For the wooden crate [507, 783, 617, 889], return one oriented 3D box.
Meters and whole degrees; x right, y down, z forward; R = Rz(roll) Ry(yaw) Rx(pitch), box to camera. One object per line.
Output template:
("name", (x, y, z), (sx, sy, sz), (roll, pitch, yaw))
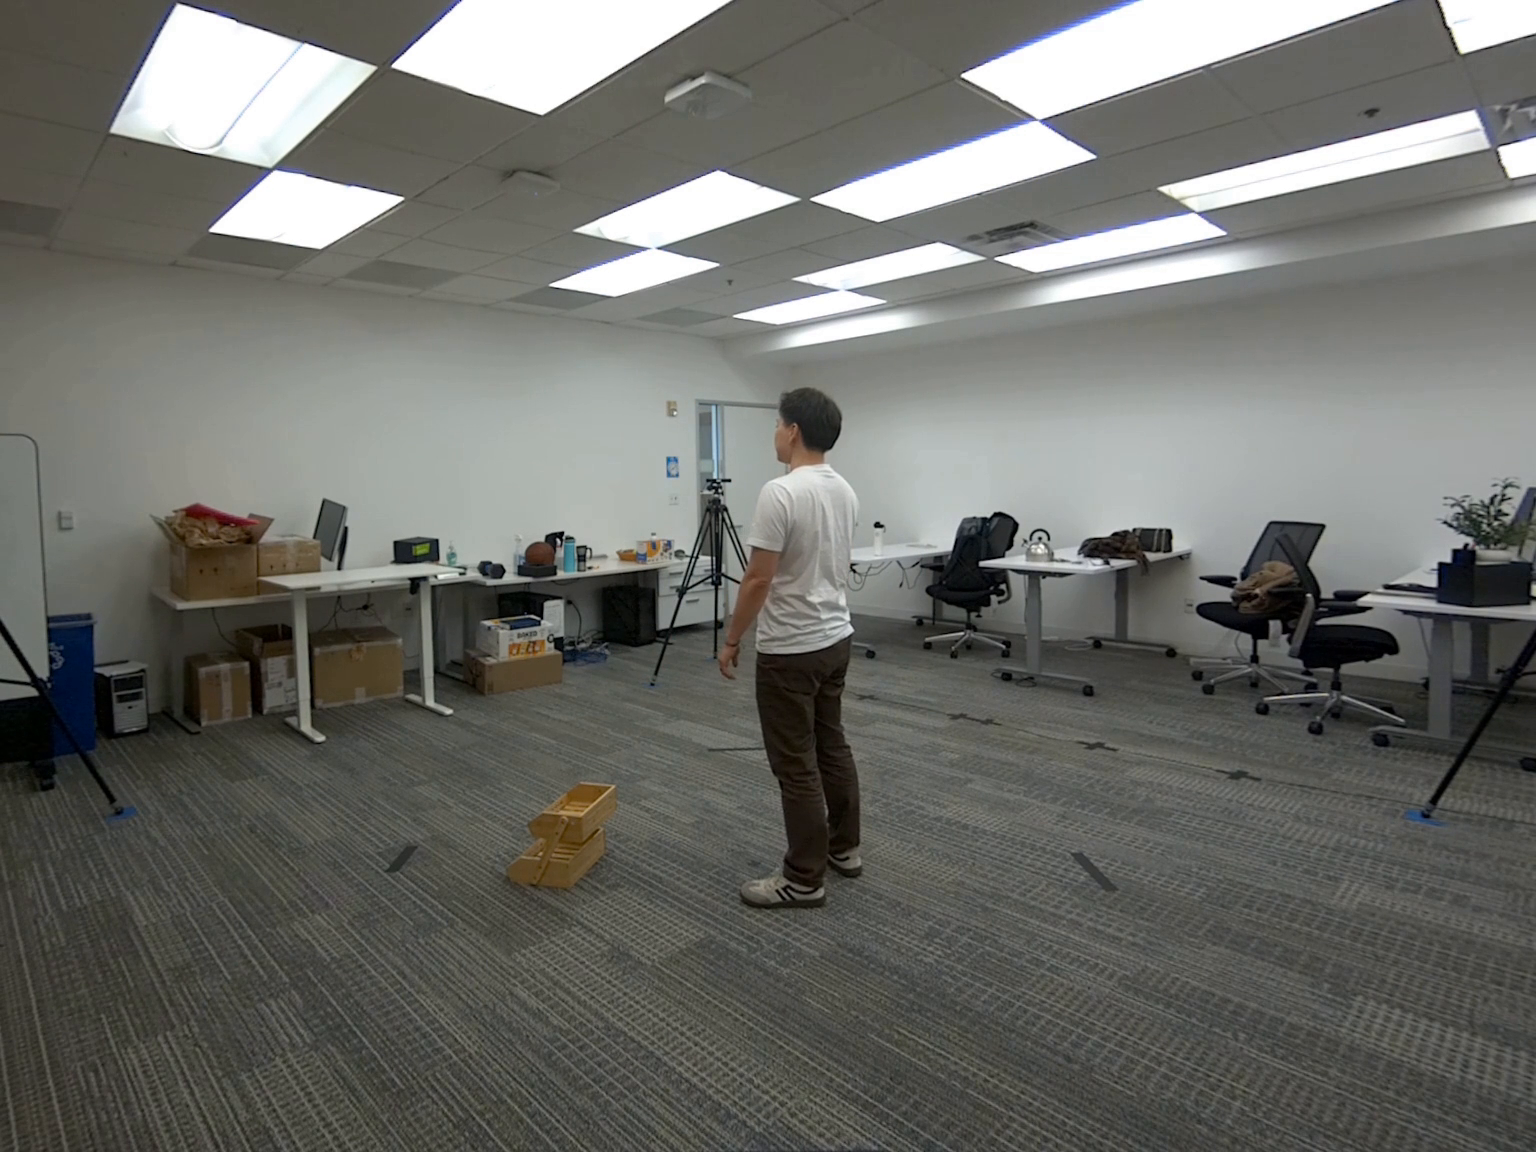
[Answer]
("wooden crate", (-0.748, 0.928, 3.101), (0.306, 0.272, 0.321), (0, 5, 14))
